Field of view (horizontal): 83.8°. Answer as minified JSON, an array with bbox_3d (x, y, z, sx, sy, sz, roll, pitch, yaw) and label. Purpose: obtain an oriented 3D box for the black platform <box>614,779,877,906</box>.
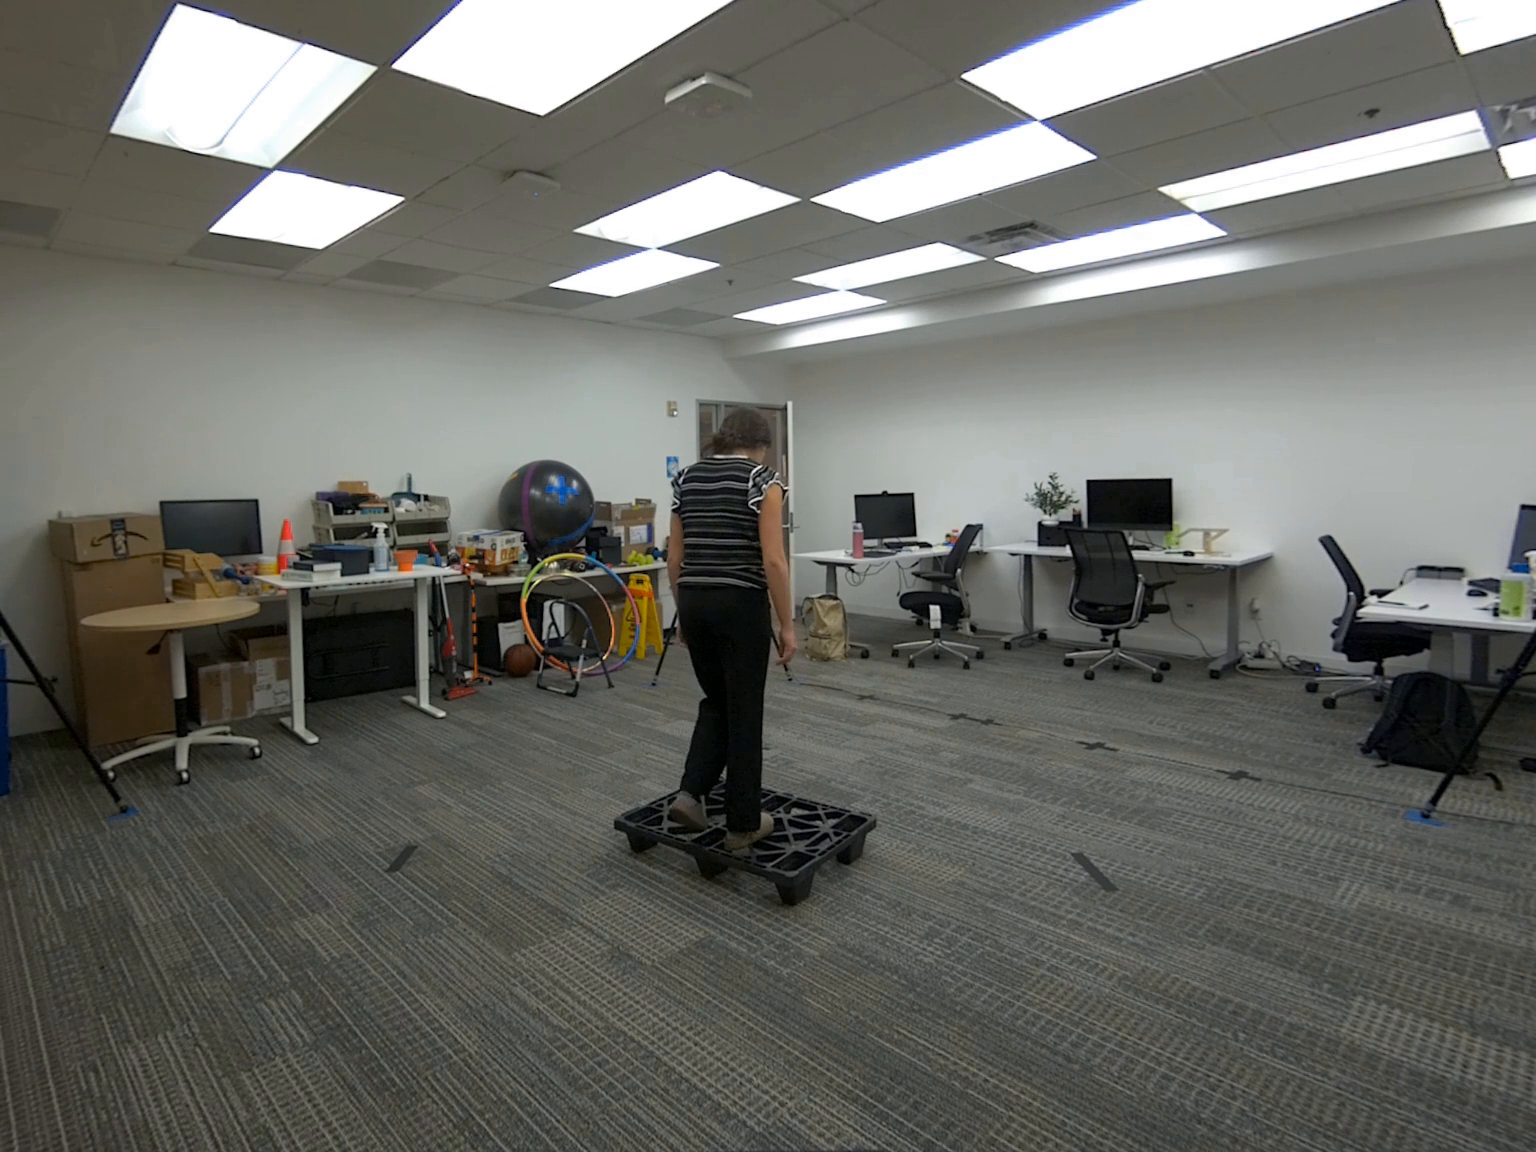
[{"bbox_3d":[-0.083,0.967,3.195,0.829,0.143,0.590,4,7,35],"label":"black platform"}]
